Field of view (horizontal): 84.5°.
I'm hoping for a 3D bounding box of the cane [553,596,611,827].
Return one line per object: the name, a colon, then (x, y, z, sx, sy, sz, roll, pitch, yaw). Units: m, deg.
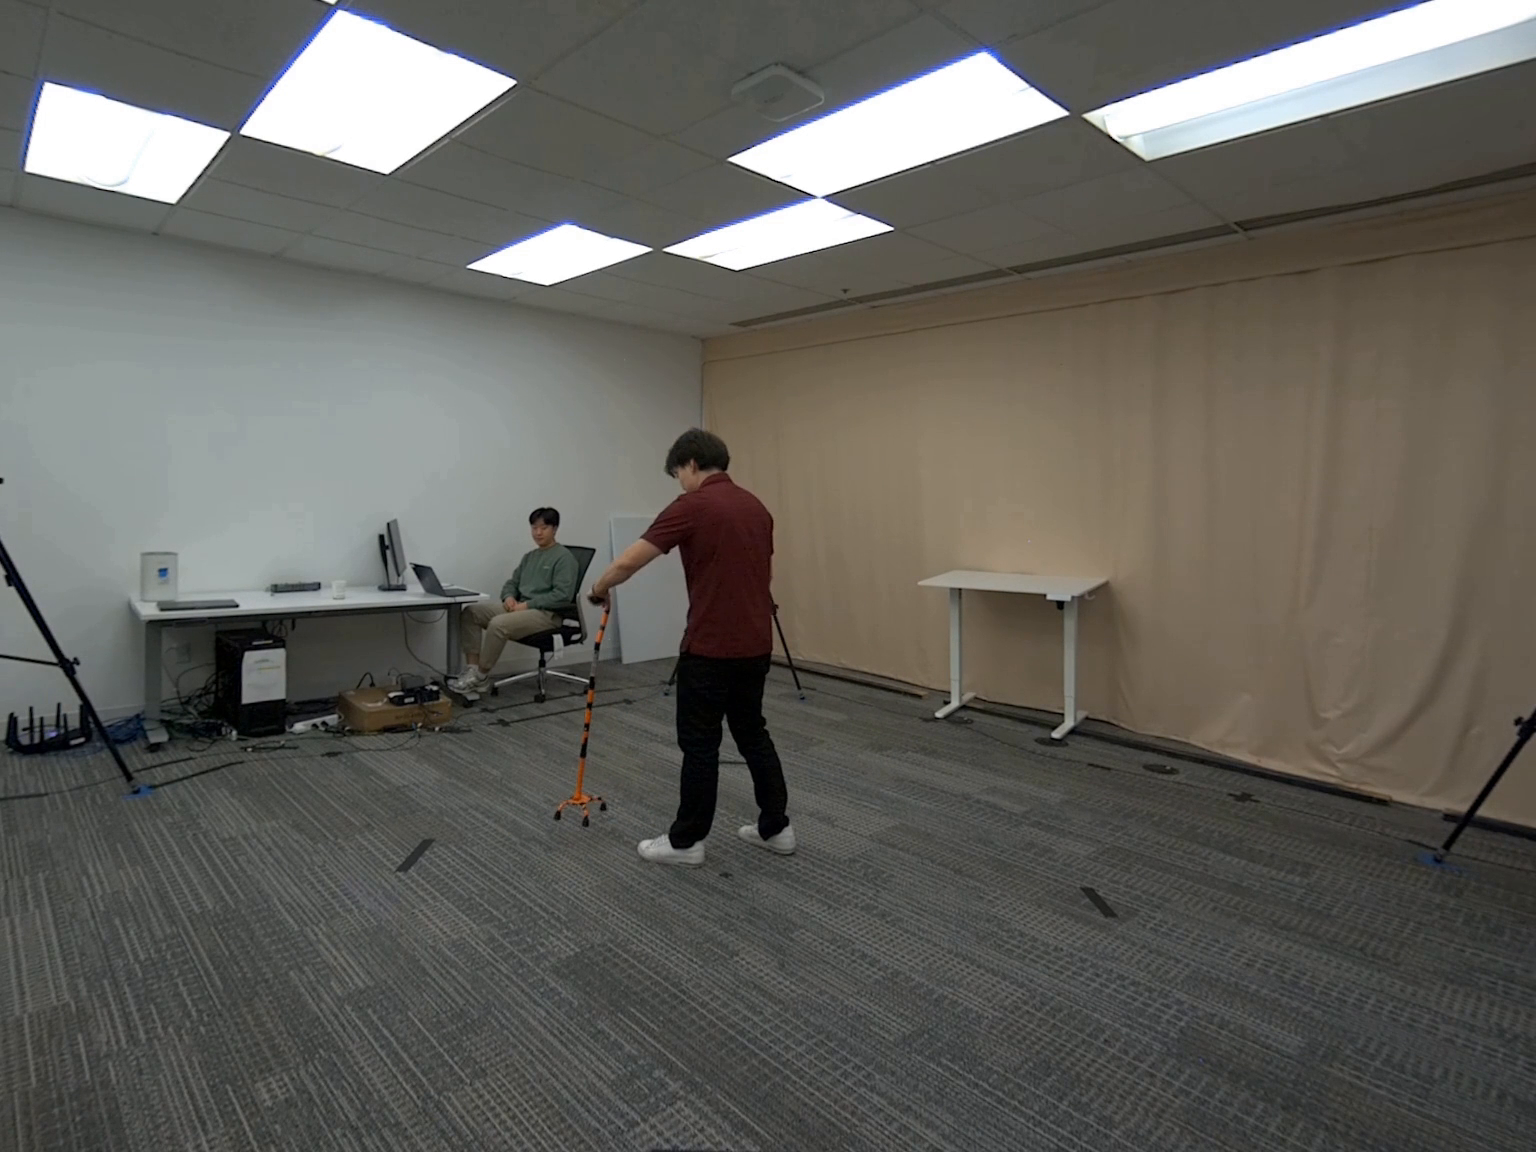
cane: (-0.702, 0.525, 3.380, 0.153, 0.905, 0.205, 8, 4, 11)
